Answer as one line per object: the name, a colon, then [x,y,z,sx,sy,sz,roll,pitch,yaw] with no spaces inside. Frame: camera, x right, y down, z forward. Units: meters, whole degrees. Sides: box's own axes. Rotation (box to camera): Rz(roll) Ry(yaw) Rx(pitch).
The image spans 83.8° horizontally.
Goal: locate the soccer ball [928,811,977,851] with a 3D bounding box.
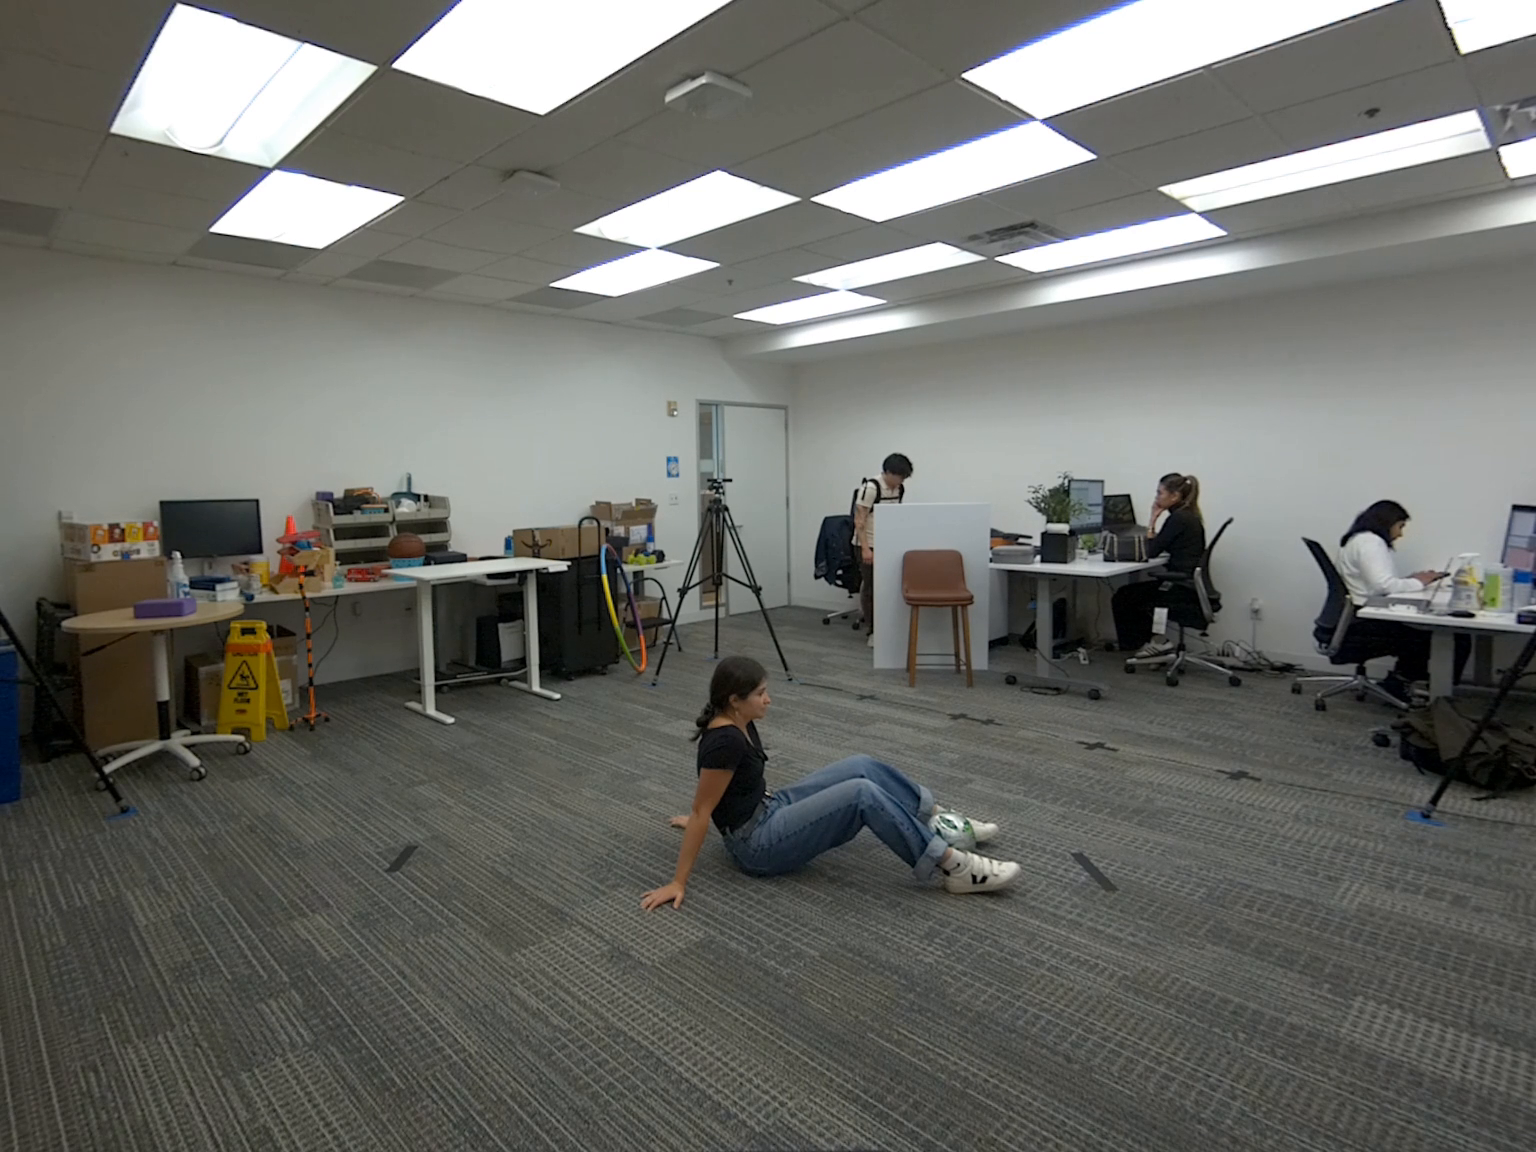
soccer ball: [0.646,0.938,3.073,0.187,0.187,0.188,0,1,-2]
